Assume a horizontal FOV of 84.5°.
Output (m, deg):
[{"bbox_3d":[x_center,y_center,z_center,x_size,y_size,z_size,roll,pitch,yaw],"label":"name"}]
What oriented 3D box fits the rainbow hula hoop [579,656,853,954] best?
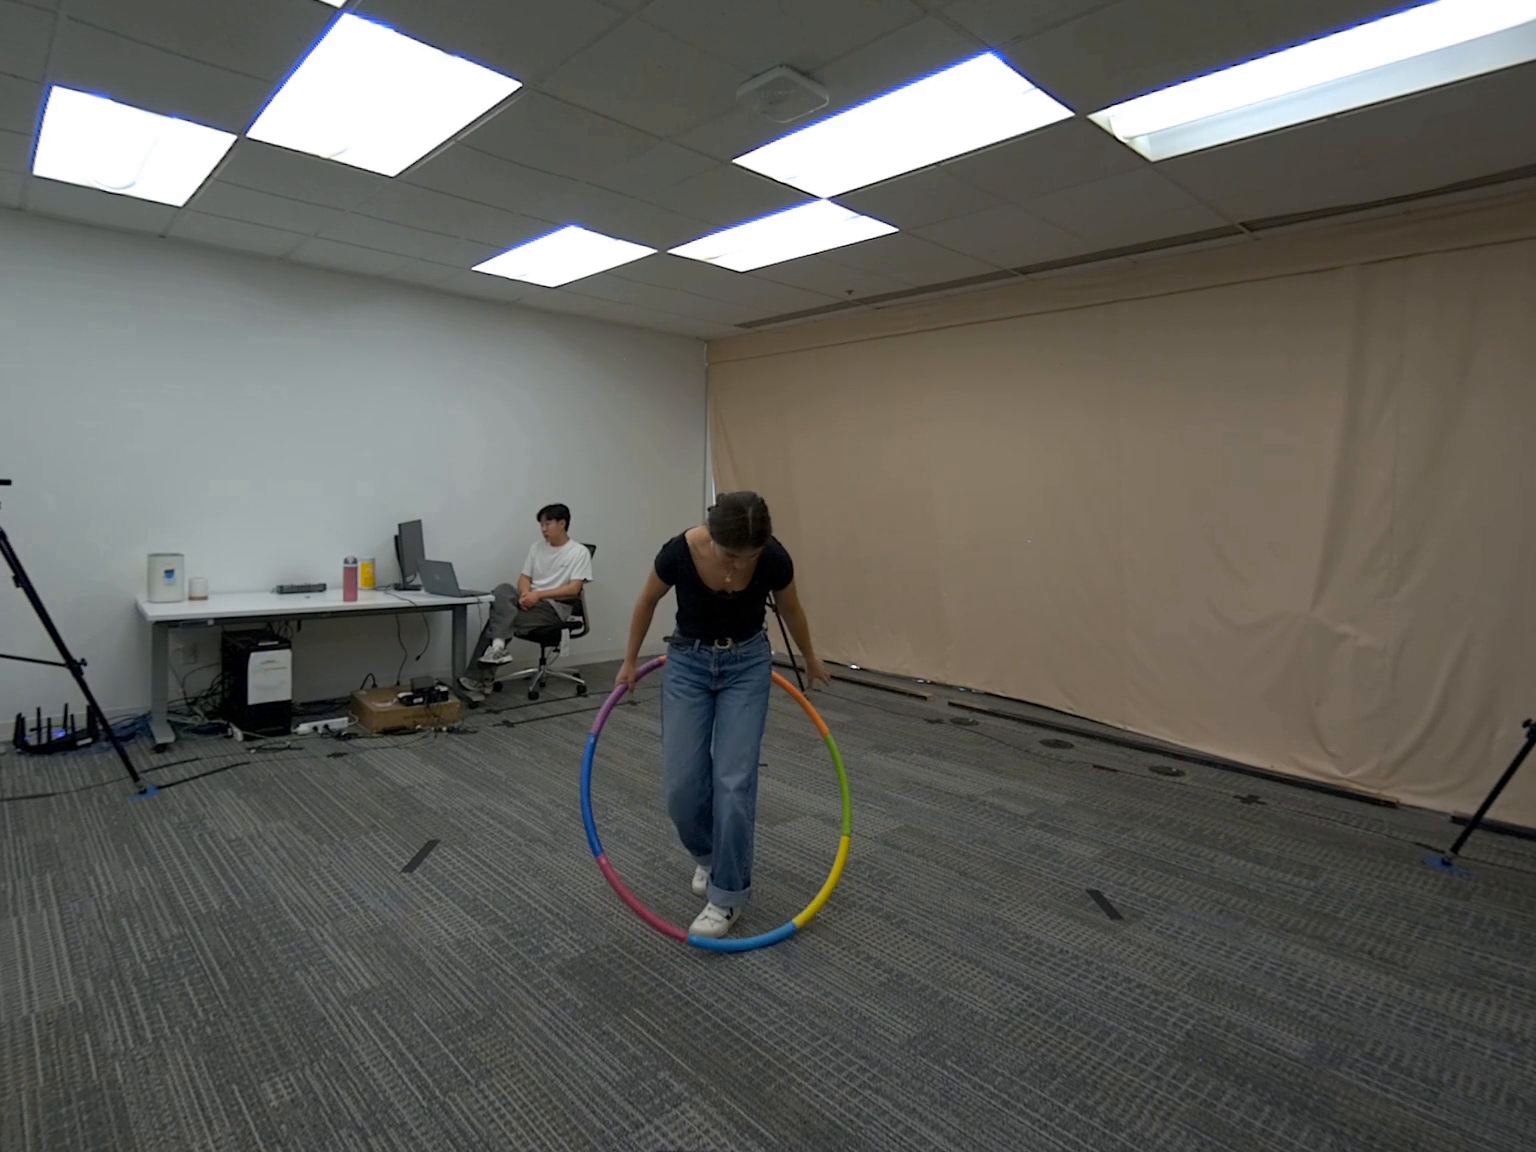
[{"bbox_3d":[-0.147,0.722,2.816,0.960,1.000,0.035,-1,-30,-28],"label":"rainbow hula hoop"}]
